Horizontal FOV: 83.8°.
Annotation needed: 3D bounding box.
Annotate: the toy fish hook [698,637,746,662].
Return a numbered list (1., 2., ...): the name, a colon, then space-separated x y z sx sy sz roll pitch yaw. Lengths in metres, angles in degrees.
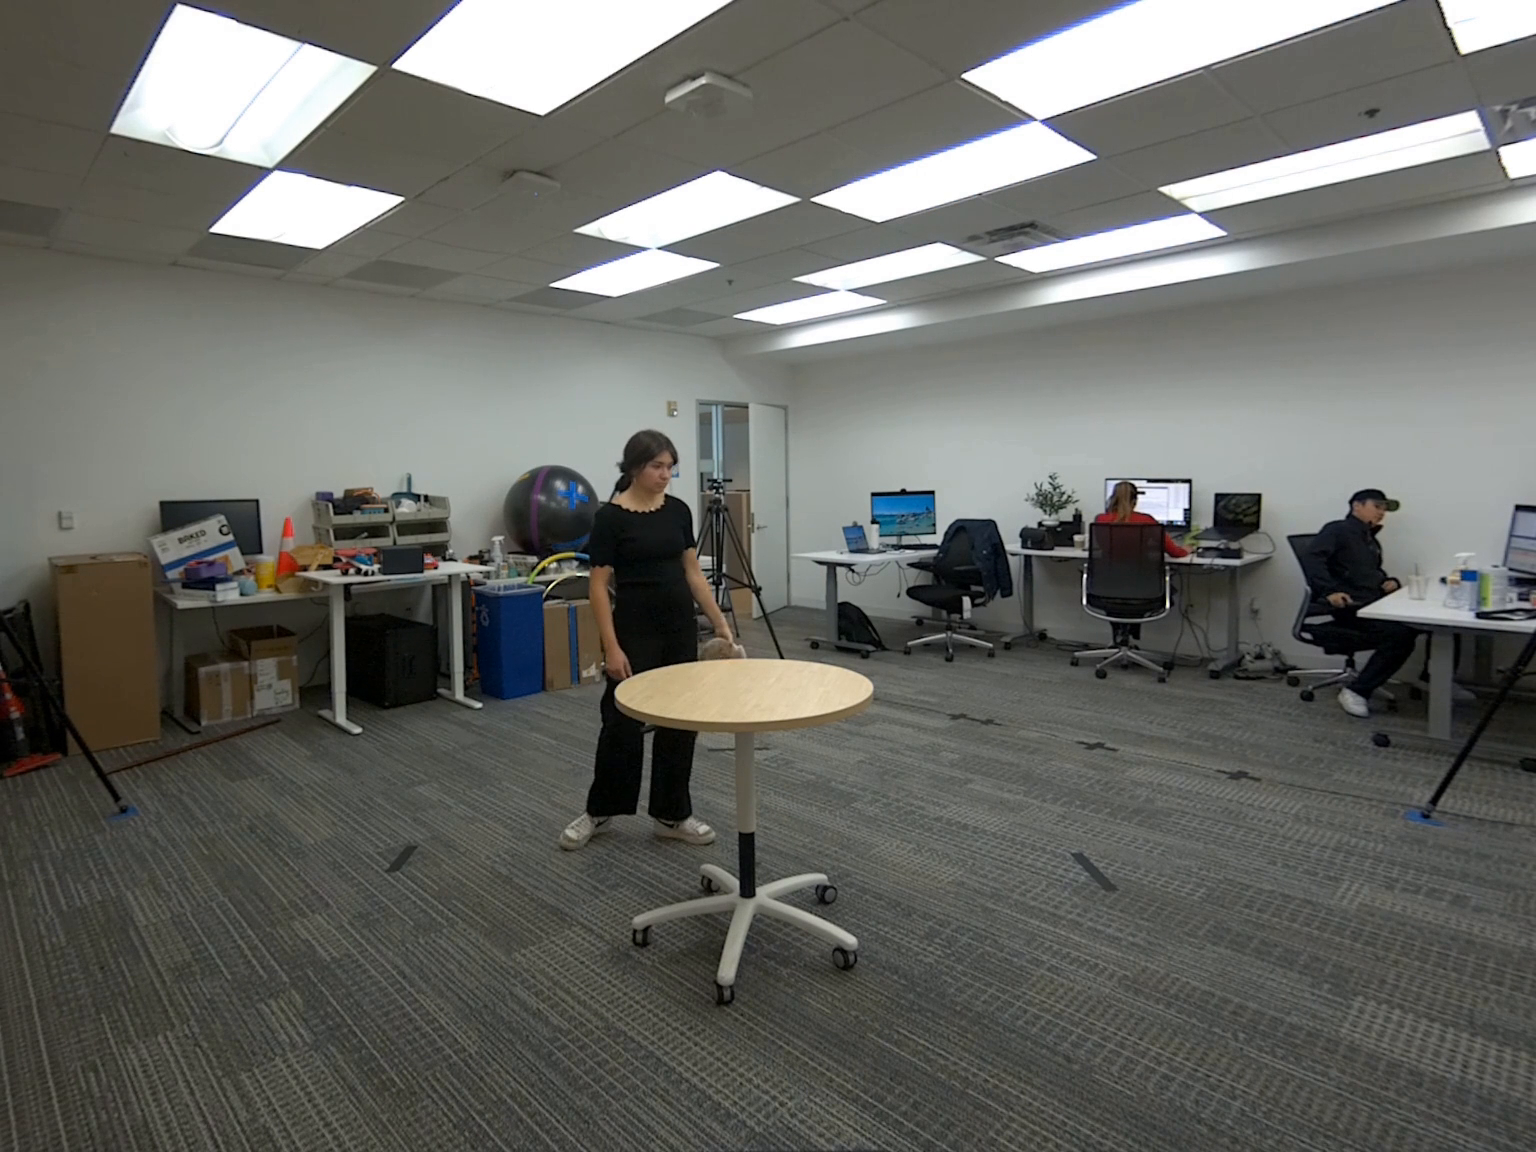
1. toy fish hook: -0.198 0.474 3.359 0.231 0.503 0.047 21 13 25
